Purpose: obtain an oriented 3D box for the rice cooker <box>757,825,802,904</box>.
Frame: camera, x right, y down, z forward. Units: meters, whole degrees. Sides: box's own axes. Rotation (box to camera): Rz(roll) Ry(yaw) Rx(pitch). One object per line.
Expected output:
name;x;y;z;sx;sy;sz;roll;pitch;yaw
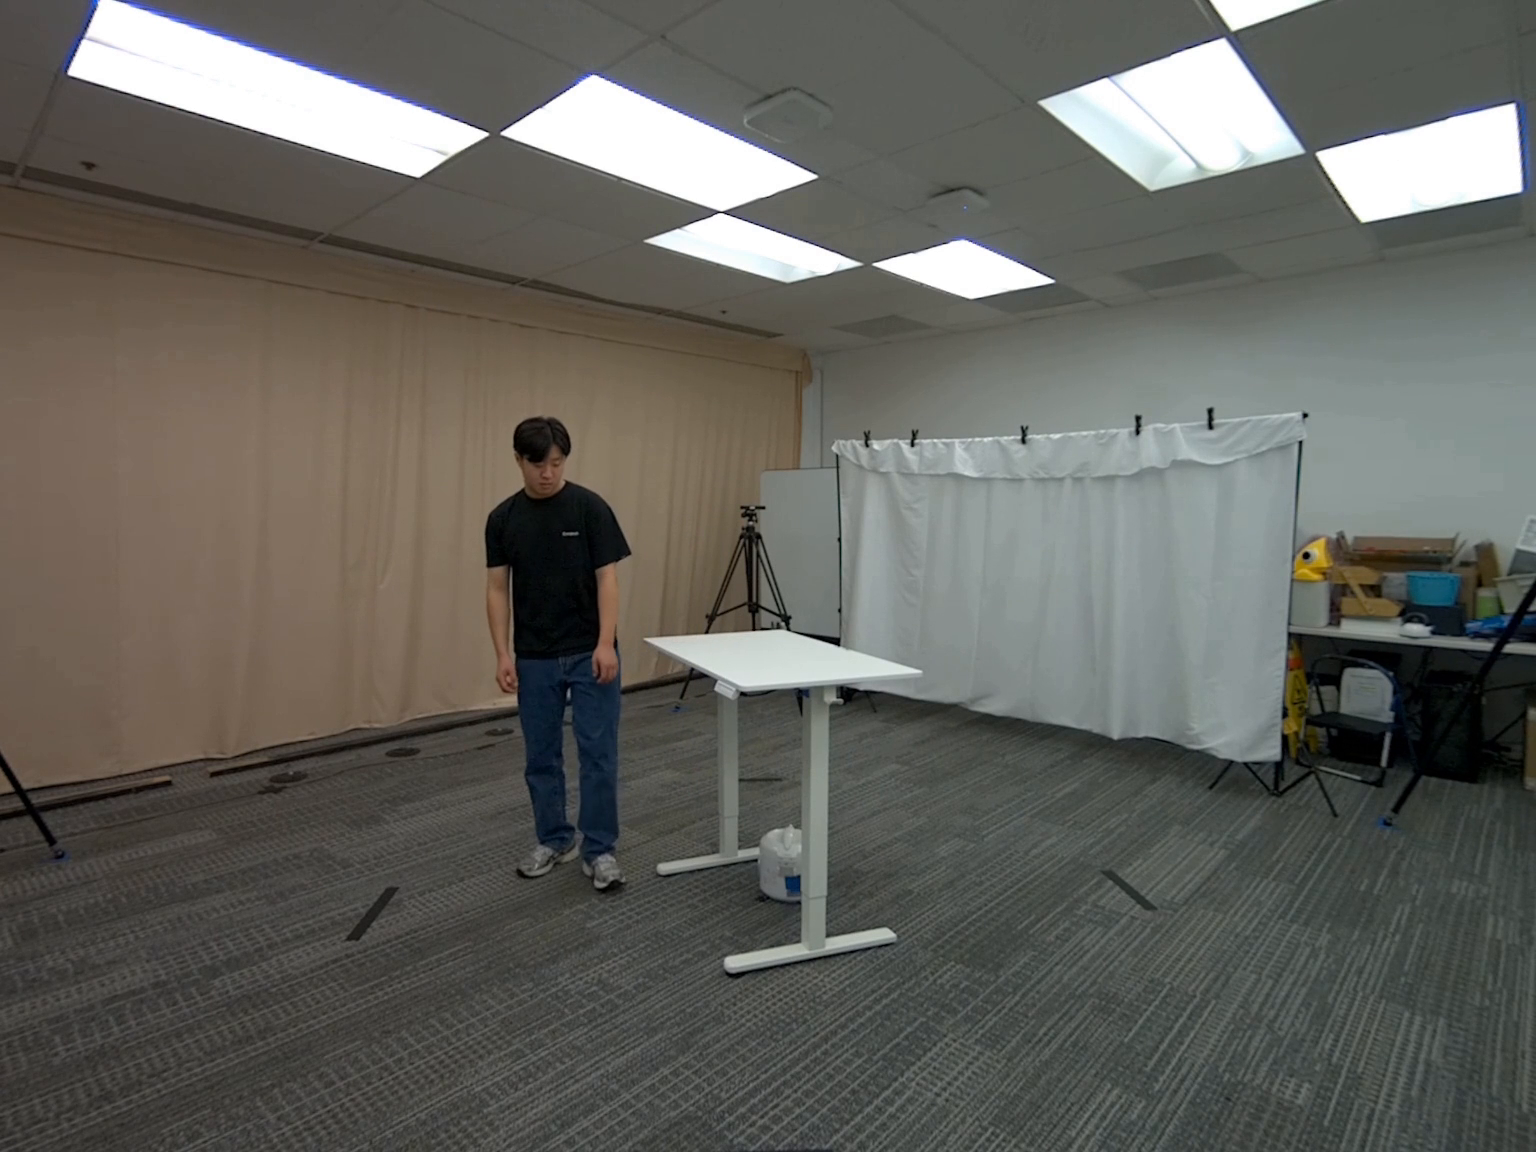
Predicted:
rice cooker;0.080;1.024;3.023;0.220;0.232;0.219;2;4;9
